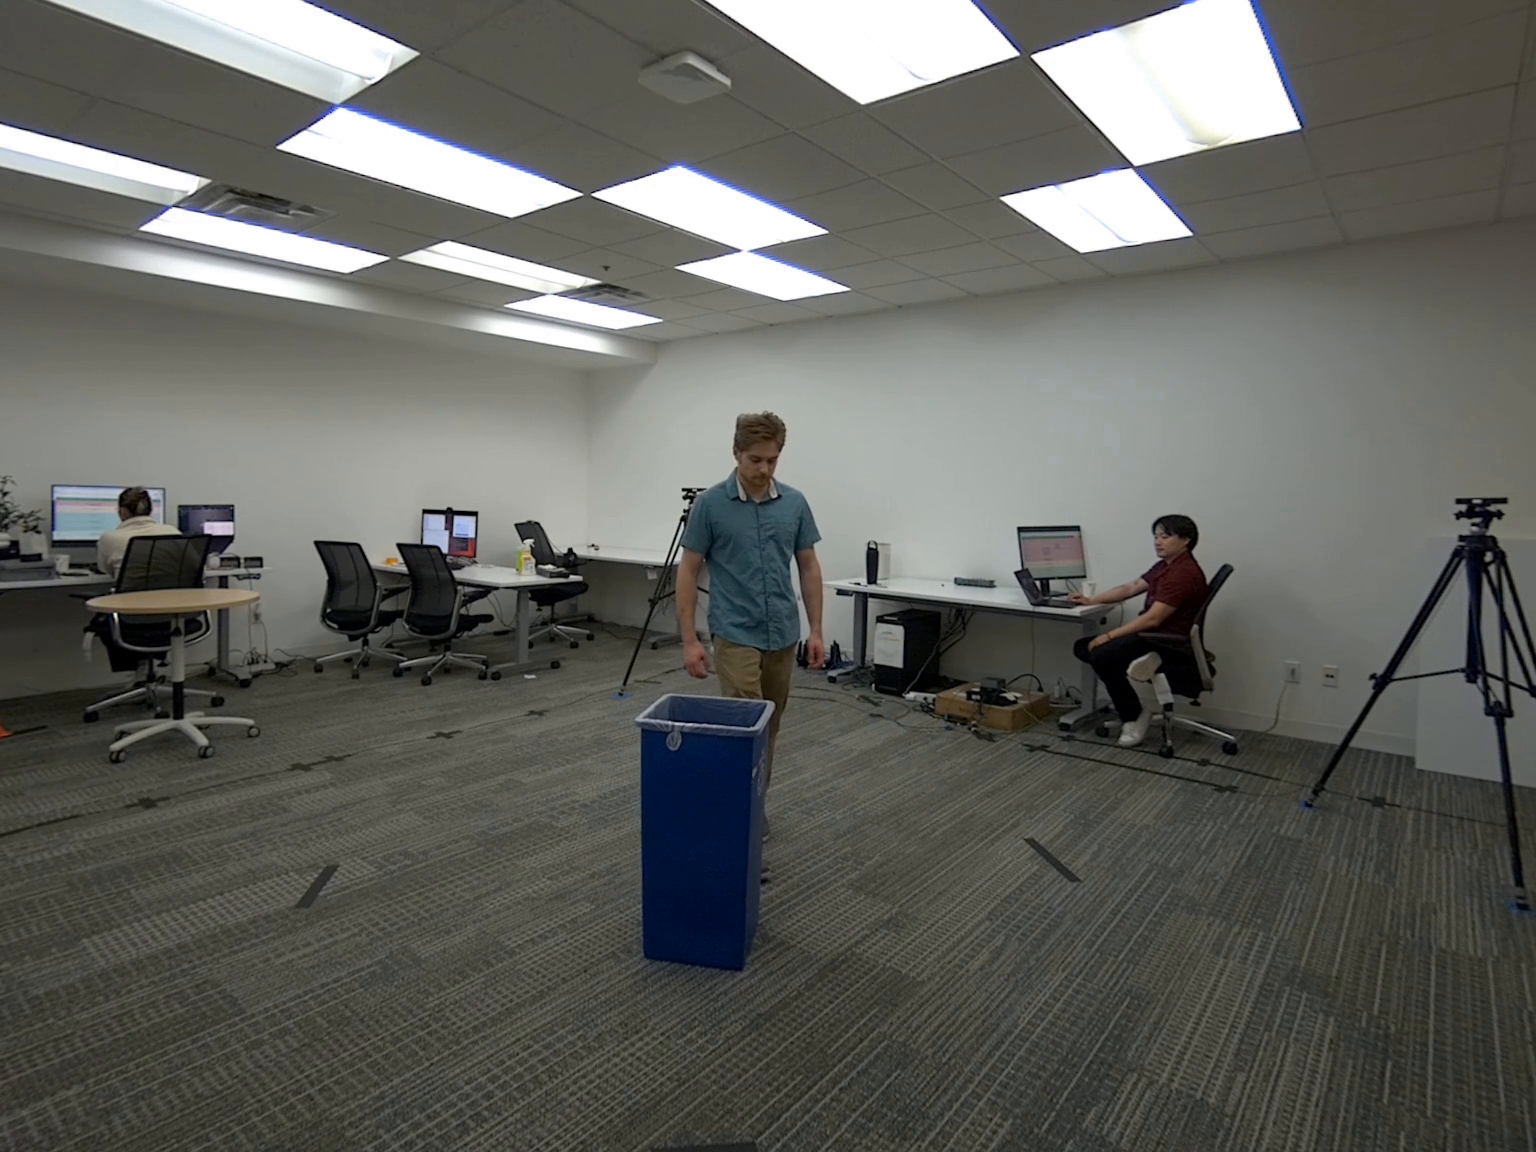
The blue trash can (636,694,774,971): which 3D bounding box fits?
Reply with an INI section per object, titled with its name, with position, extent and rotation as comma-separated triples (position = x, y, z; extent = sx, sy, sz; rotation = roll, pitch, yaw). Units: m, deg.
[blue trash can]
position = -0.204, 0.763, 2.611
extent = 0.383, 0.711, 0.371
rotation = 2, 4, 10
